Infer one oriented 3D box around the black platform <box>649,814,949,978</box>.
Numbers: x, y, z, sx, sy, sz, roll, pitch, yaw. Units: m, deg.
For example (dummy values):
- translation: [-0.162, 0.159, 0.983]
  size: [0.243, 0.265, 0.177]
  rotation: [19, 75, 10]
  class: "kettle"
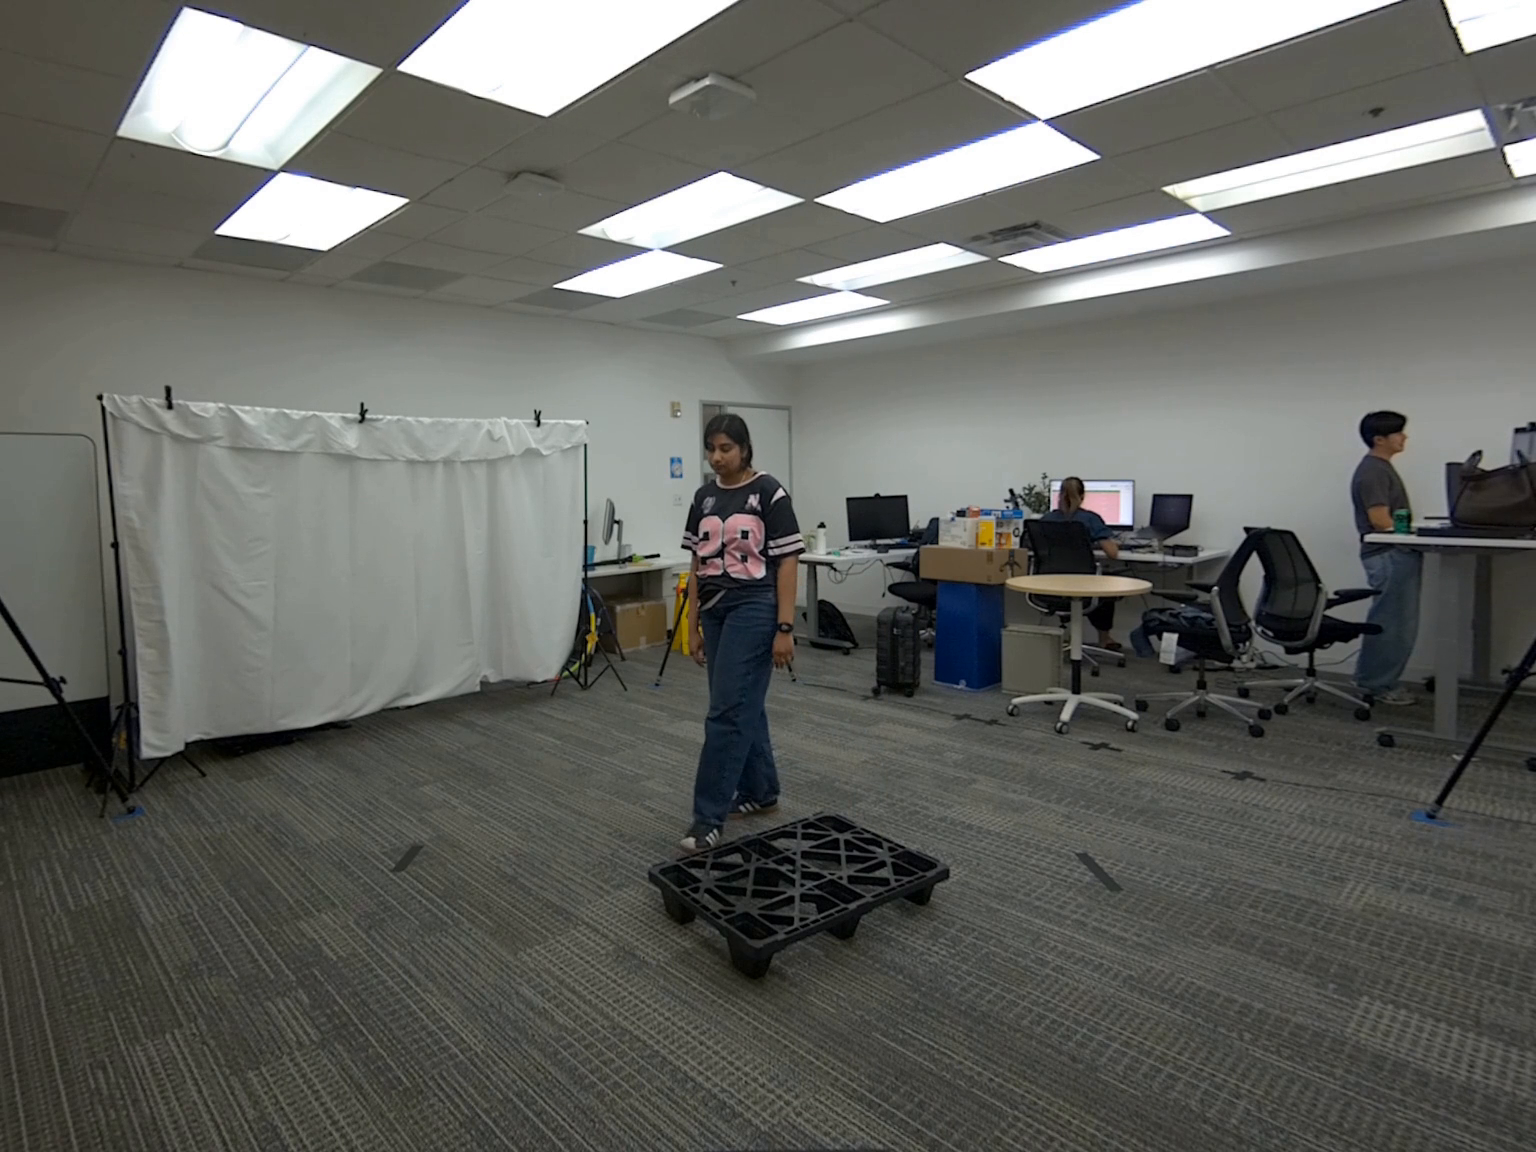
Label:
- translation: [0.107, 1.016, 2.783]
  size: [0.785, 0.142, 0.624]
  rotation: [-6, 9, -36]
  class: "black platform"
